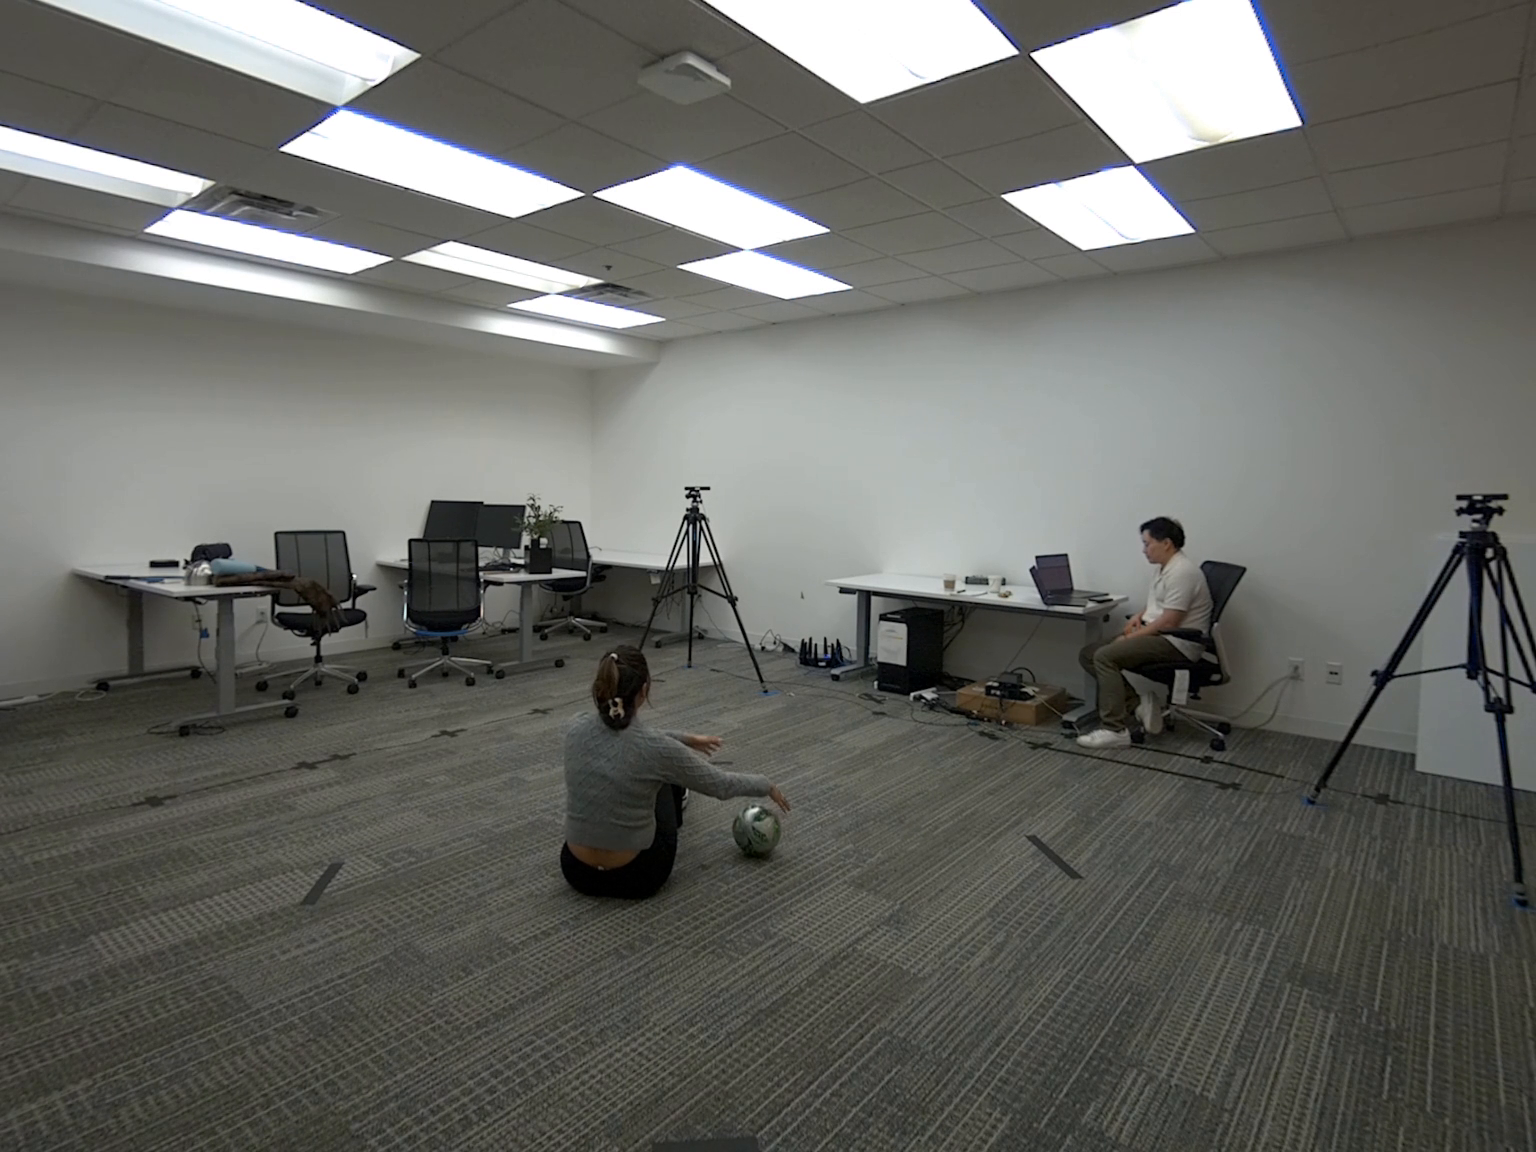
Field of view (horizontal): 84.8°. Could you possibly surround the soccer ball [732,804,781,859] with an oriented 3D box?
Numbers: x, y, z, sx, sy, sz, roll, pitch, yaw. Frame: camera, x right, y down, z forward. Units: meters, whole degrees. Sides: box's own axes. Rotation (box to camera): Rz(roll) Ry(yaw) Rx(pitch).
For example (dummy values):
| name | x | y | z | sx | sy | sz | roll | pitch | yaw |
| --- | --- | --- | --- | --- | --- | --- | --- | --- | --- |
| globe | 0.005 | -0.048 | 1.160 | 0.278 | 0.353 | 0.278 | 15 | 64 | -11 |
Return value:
| name | x | y | z | sx | sy | sz | roll | pitch | yaw |
| --- | --- | --- | --- | --- | --- | --- | --- | --- | --- |
| soccer ball | -0.049 | 0.963 | 3.228 | 0.187 | 0.187 | 0.188 | 0 | 4 | -2 |
